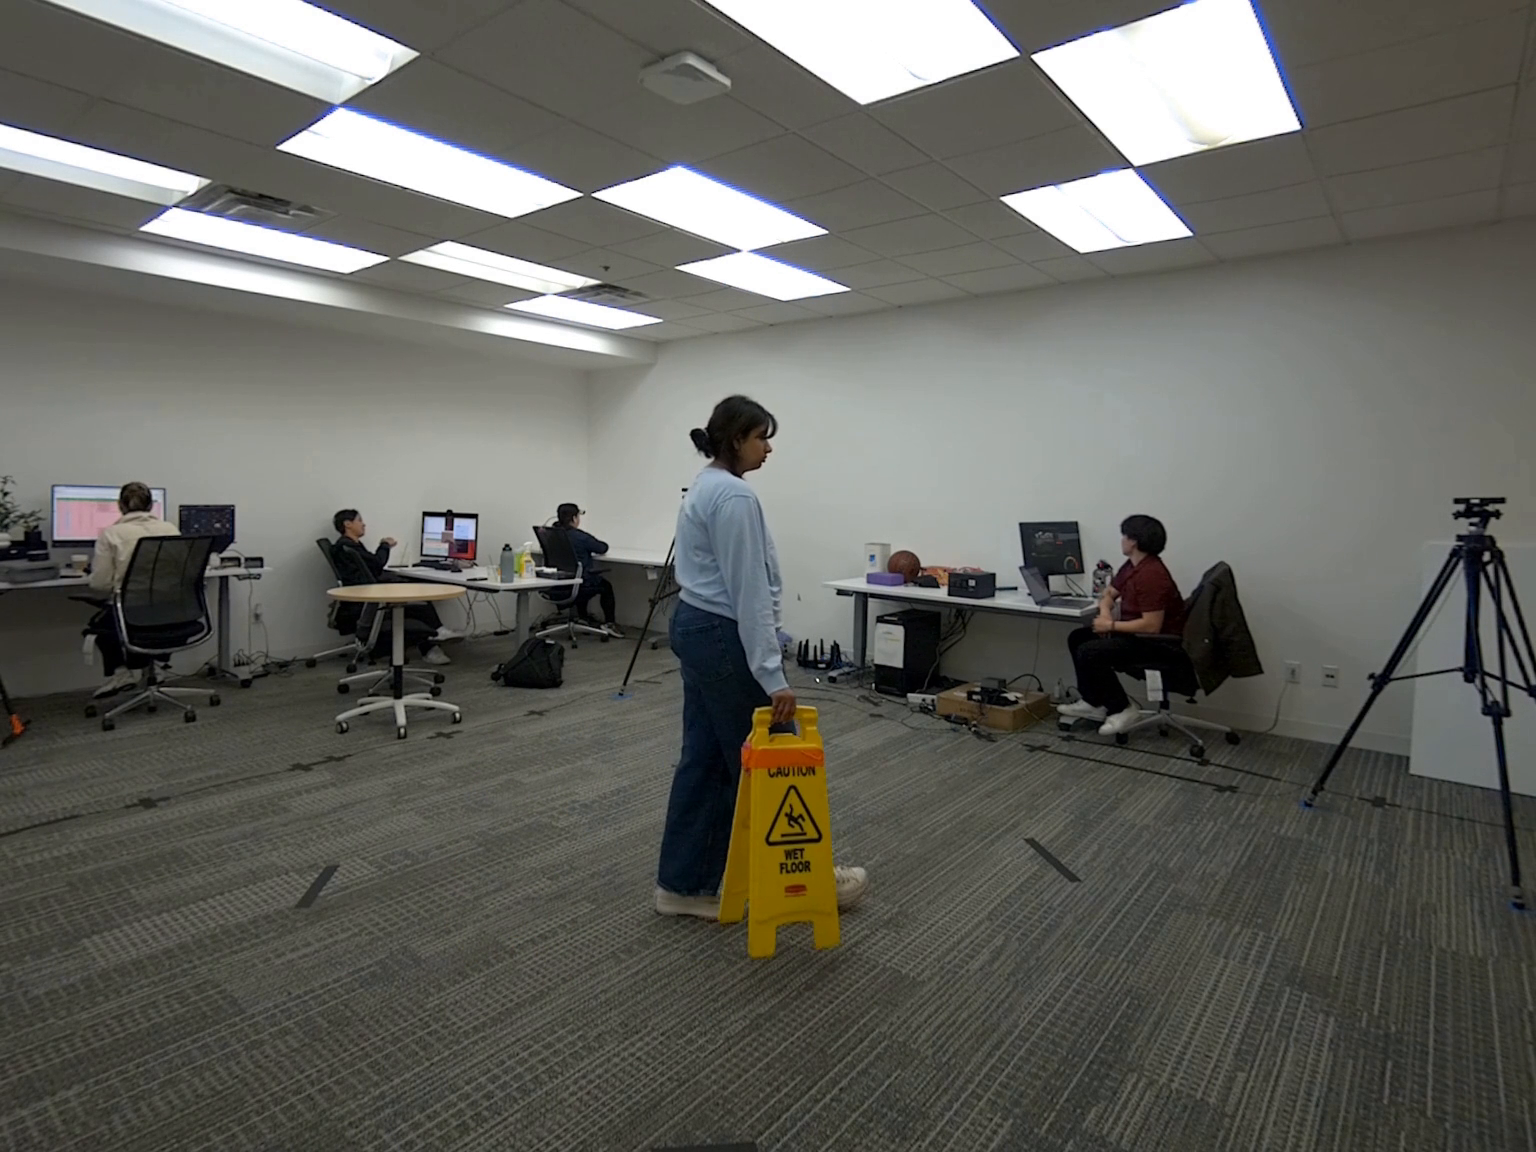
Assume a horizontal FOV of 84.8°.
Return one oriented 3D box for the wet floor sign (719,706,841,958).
[{"bbox_3d":[0.034,0.707,2.466,0.276,0.647,0.296,2,-1,-22],"label":"wet floor sign"}]
